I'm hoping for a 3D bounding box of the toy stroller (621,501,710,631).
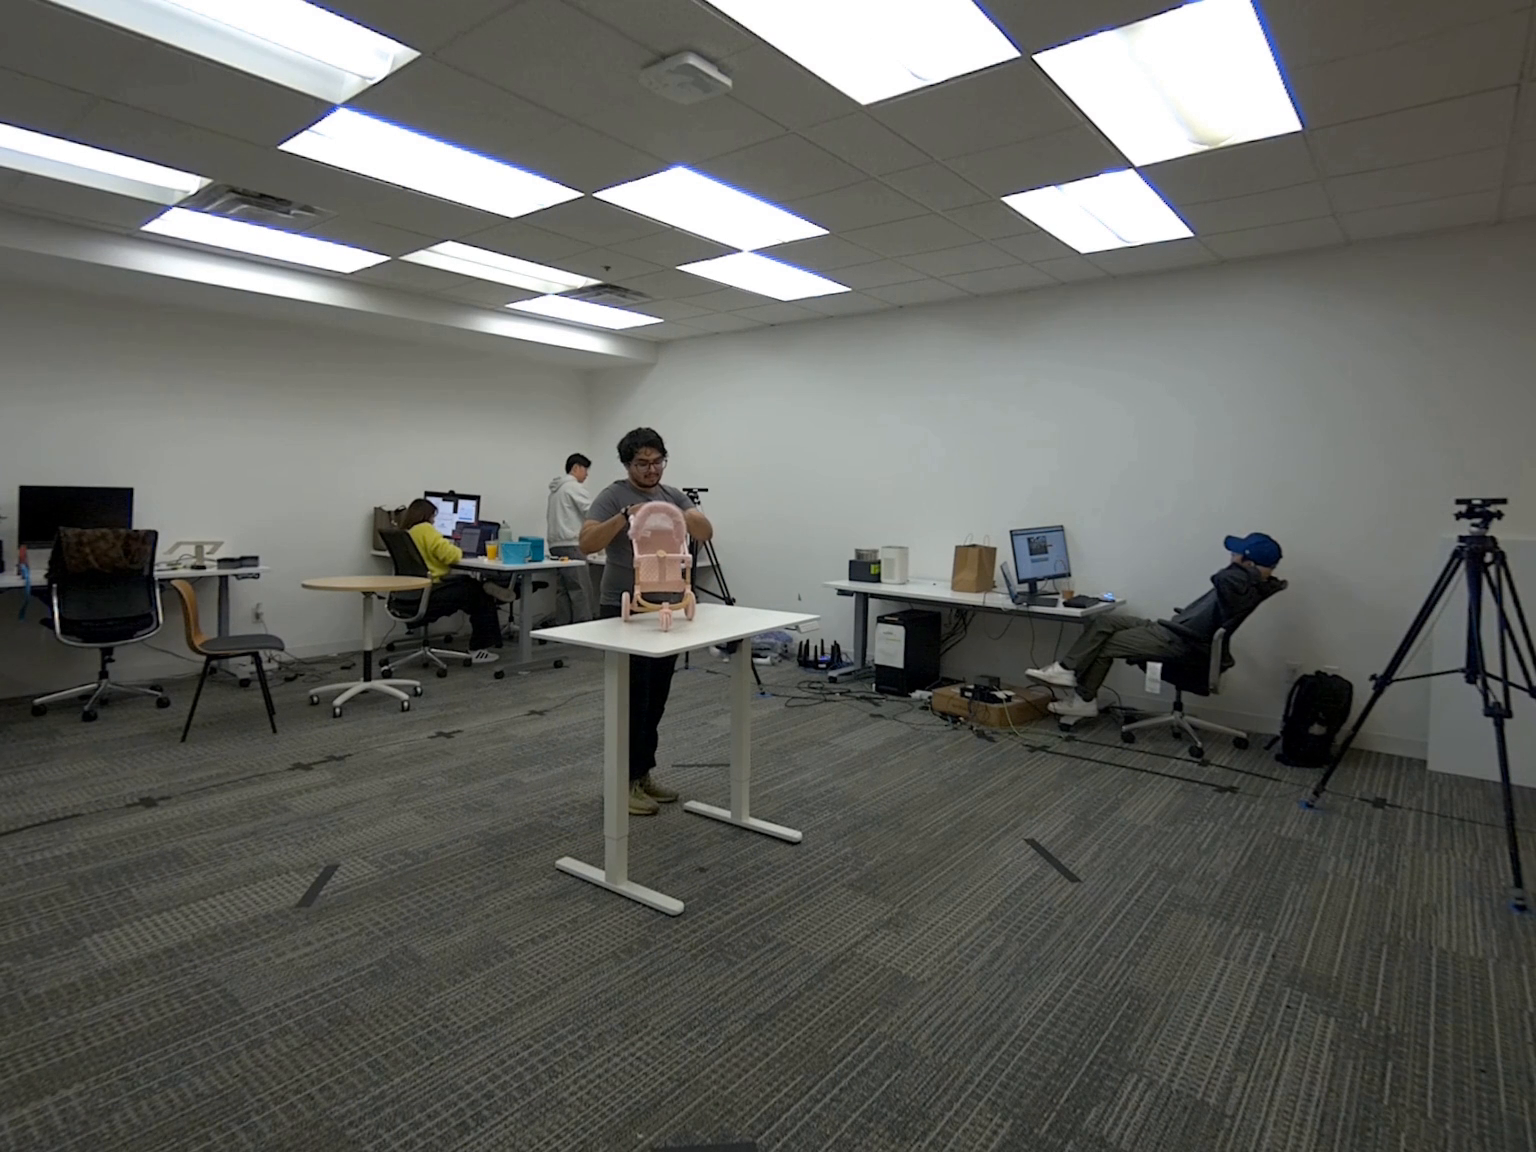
[{"bbox_3d":[-0.421,-0.044,3.196,0.279,0.542,0.340,-1,-12,-10],"label":"toy stroller"}]
